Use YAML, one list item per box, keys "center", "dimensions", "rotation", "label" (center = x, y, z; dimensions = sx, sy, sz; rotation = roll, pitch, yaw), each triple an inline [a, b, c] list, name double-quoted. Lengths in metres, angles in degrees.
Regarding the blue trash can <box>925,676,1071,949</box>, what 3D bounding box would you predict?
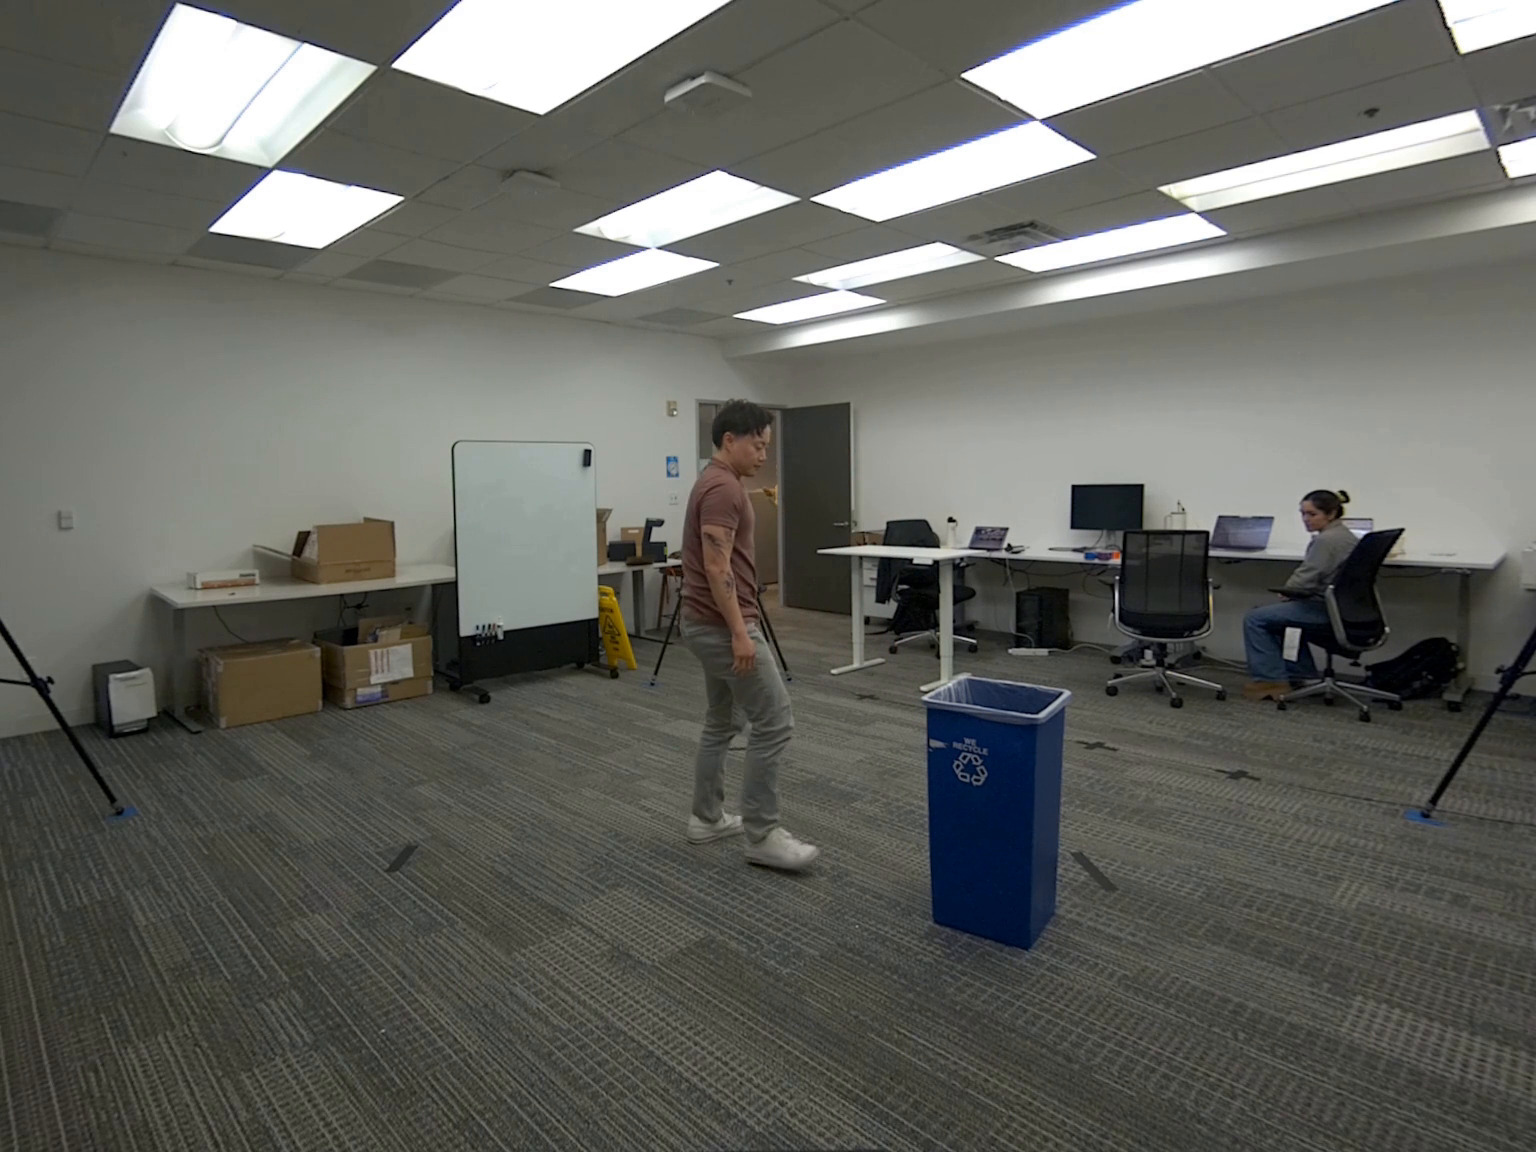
- center: [0.728, 0.723, 2.676]
  dimensions: [0.385, 0.711, 0.369]
  rotation: [2, 5, 34]
  label: "blue trash can"
